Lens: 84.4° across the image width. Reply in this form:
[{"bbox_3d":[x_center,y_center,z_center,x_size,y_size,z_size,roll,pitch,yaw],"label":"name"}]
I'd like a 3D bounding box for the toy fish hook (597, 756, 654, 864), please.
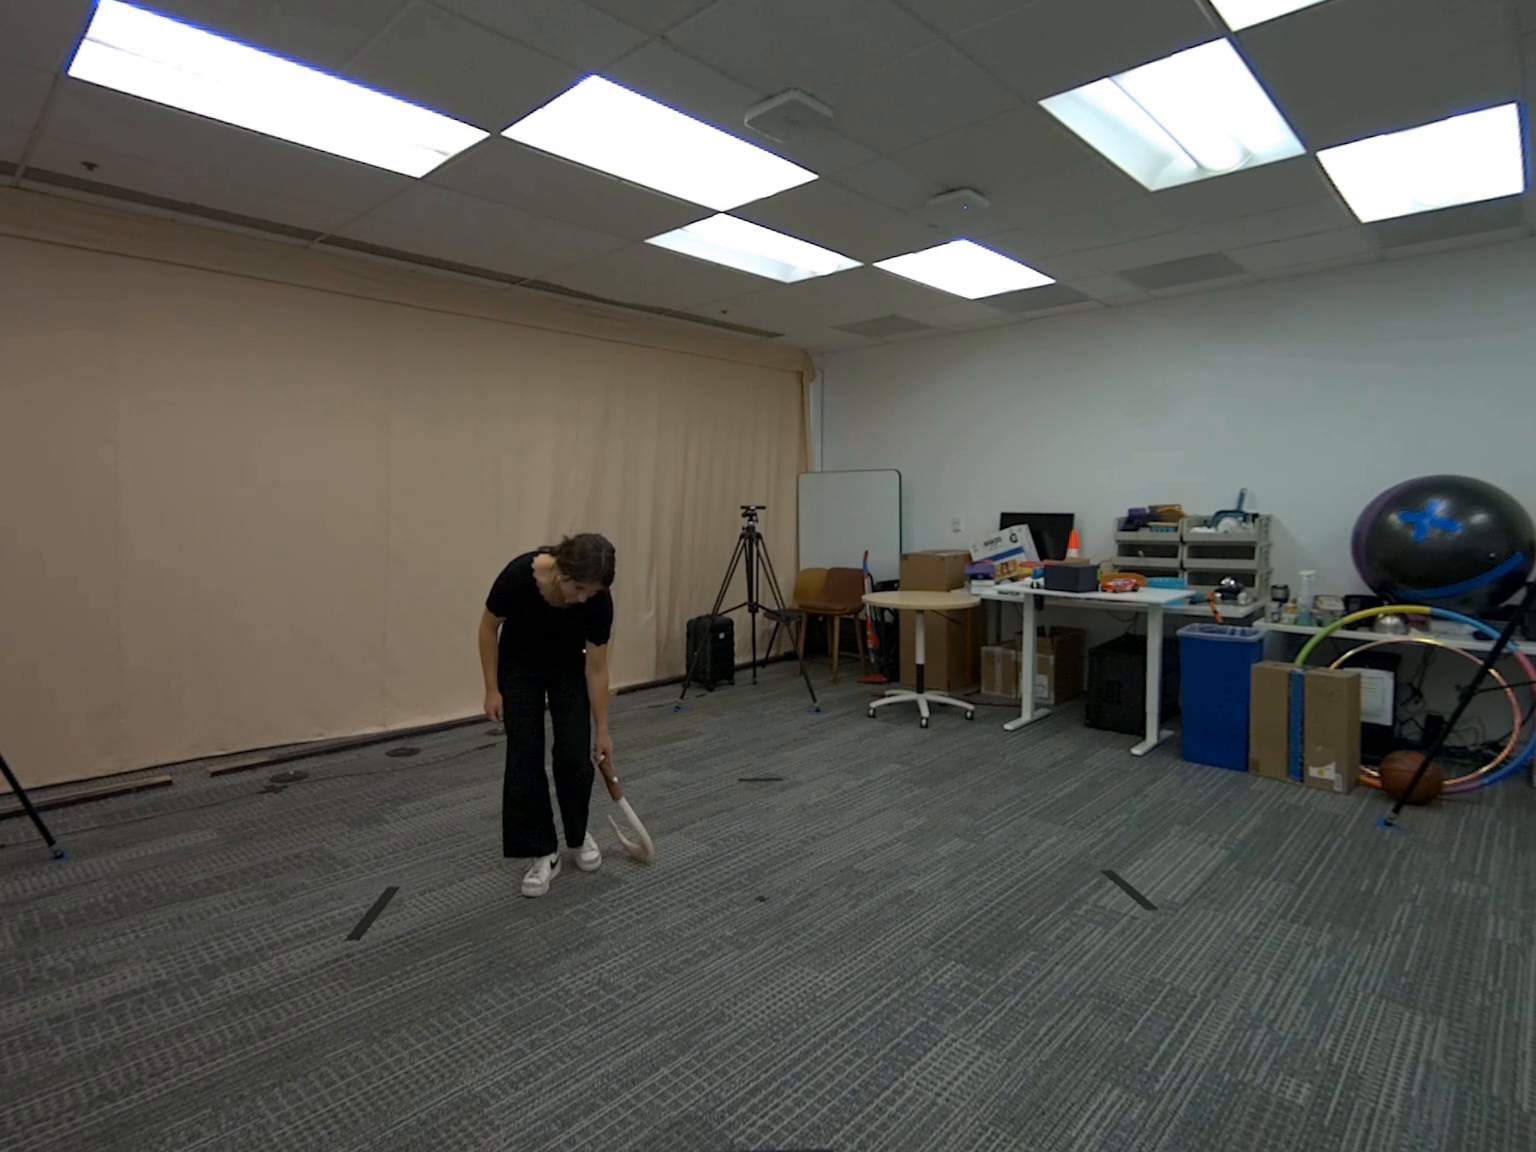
[{"bbox_3d":[-0.578,0.896,3.254,0.231,0.499,0.047,-6,20,41],"label":"toy fish hook"}]
